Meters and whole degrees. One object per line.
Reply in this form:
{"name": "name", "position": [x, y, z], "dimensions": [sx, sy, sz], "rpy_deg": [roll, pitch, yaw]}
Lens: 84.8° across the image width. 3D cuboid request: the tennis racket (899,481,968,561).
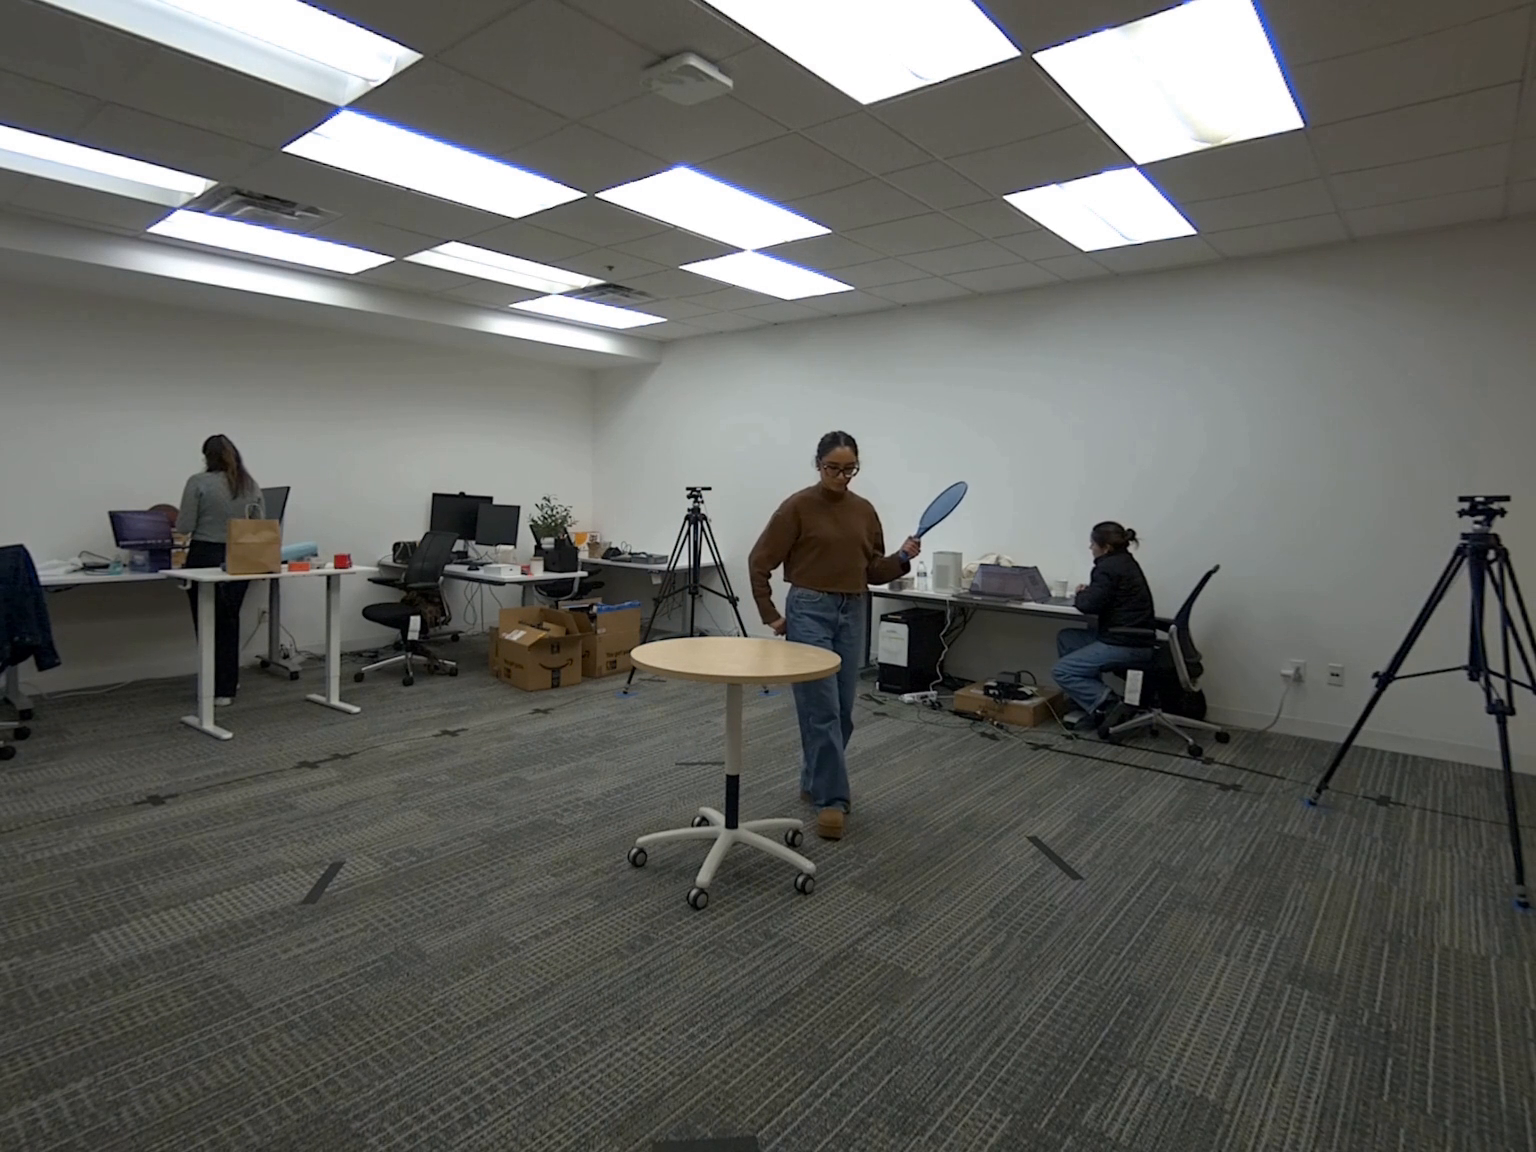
{"name": "tennis racket", "position": [0.653, -0.233, 3.500], "dimensions": [0.031, 0.433, 0.218], "rpy_deg": [43, -13, -17]}
